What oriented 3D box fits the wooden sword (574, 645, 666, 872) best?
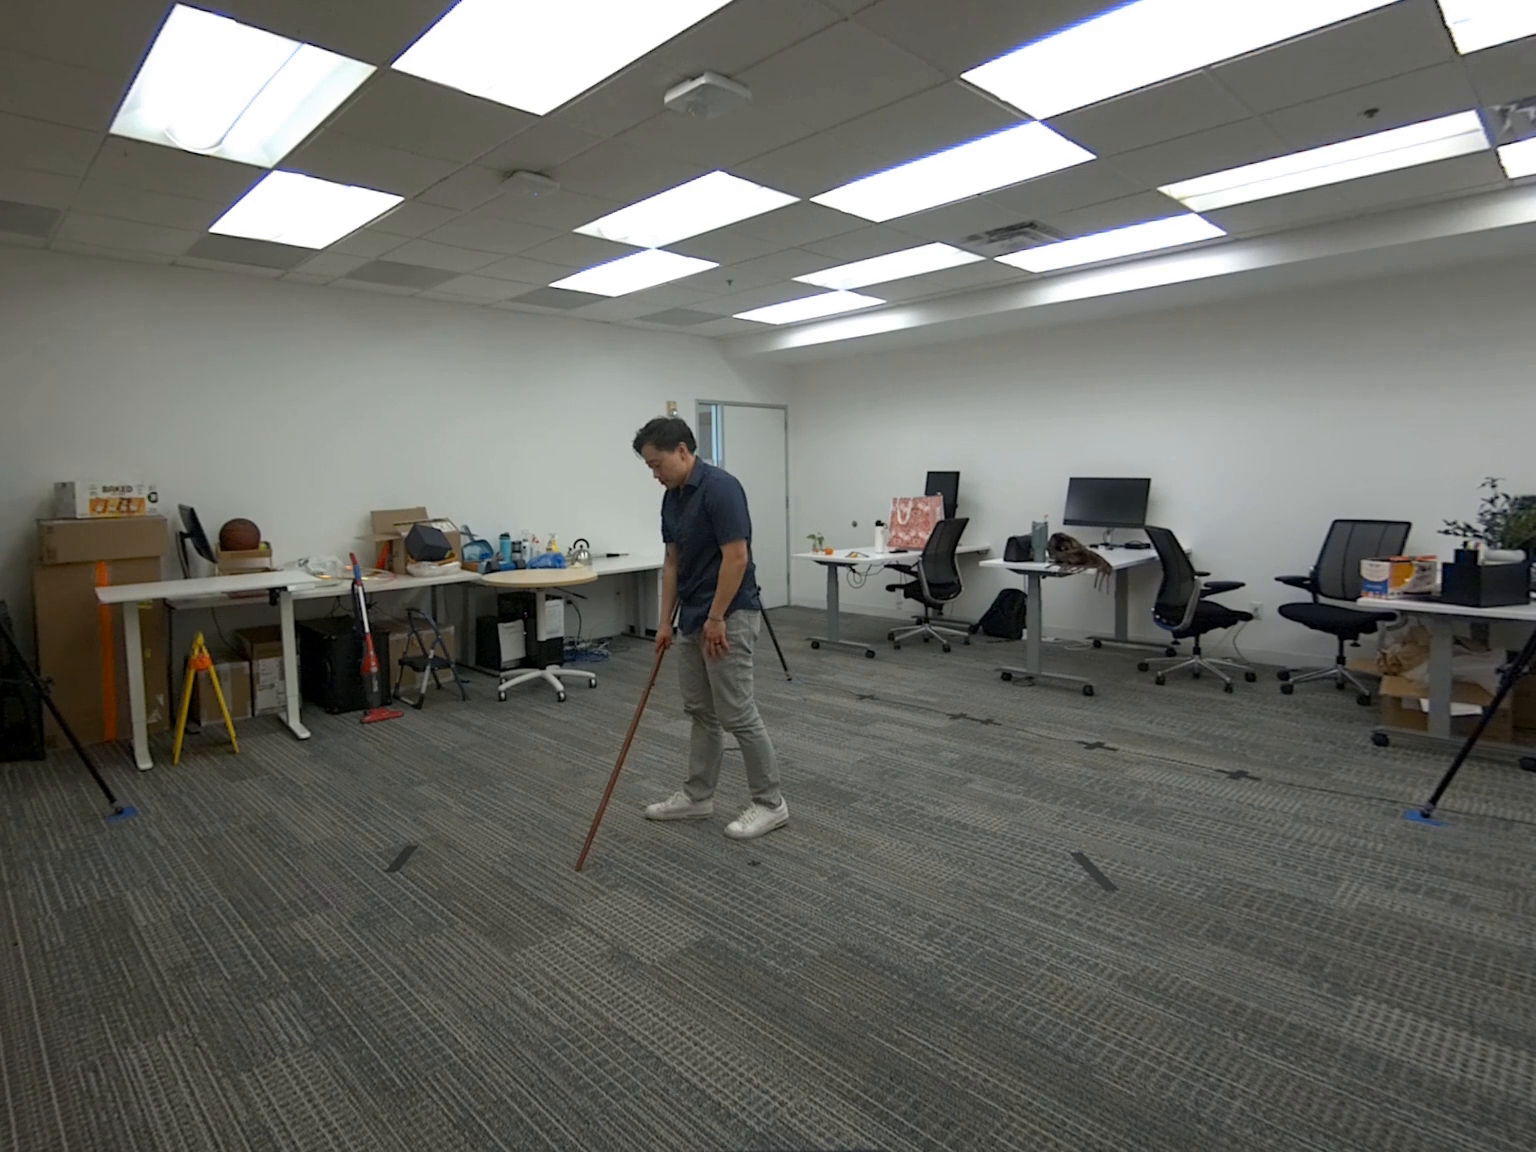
[{"bbox_3d":[-0.545,0.638,3.343,0.051,1.040,0.024,21,-31,-6],"label":"wooden sword"}]
